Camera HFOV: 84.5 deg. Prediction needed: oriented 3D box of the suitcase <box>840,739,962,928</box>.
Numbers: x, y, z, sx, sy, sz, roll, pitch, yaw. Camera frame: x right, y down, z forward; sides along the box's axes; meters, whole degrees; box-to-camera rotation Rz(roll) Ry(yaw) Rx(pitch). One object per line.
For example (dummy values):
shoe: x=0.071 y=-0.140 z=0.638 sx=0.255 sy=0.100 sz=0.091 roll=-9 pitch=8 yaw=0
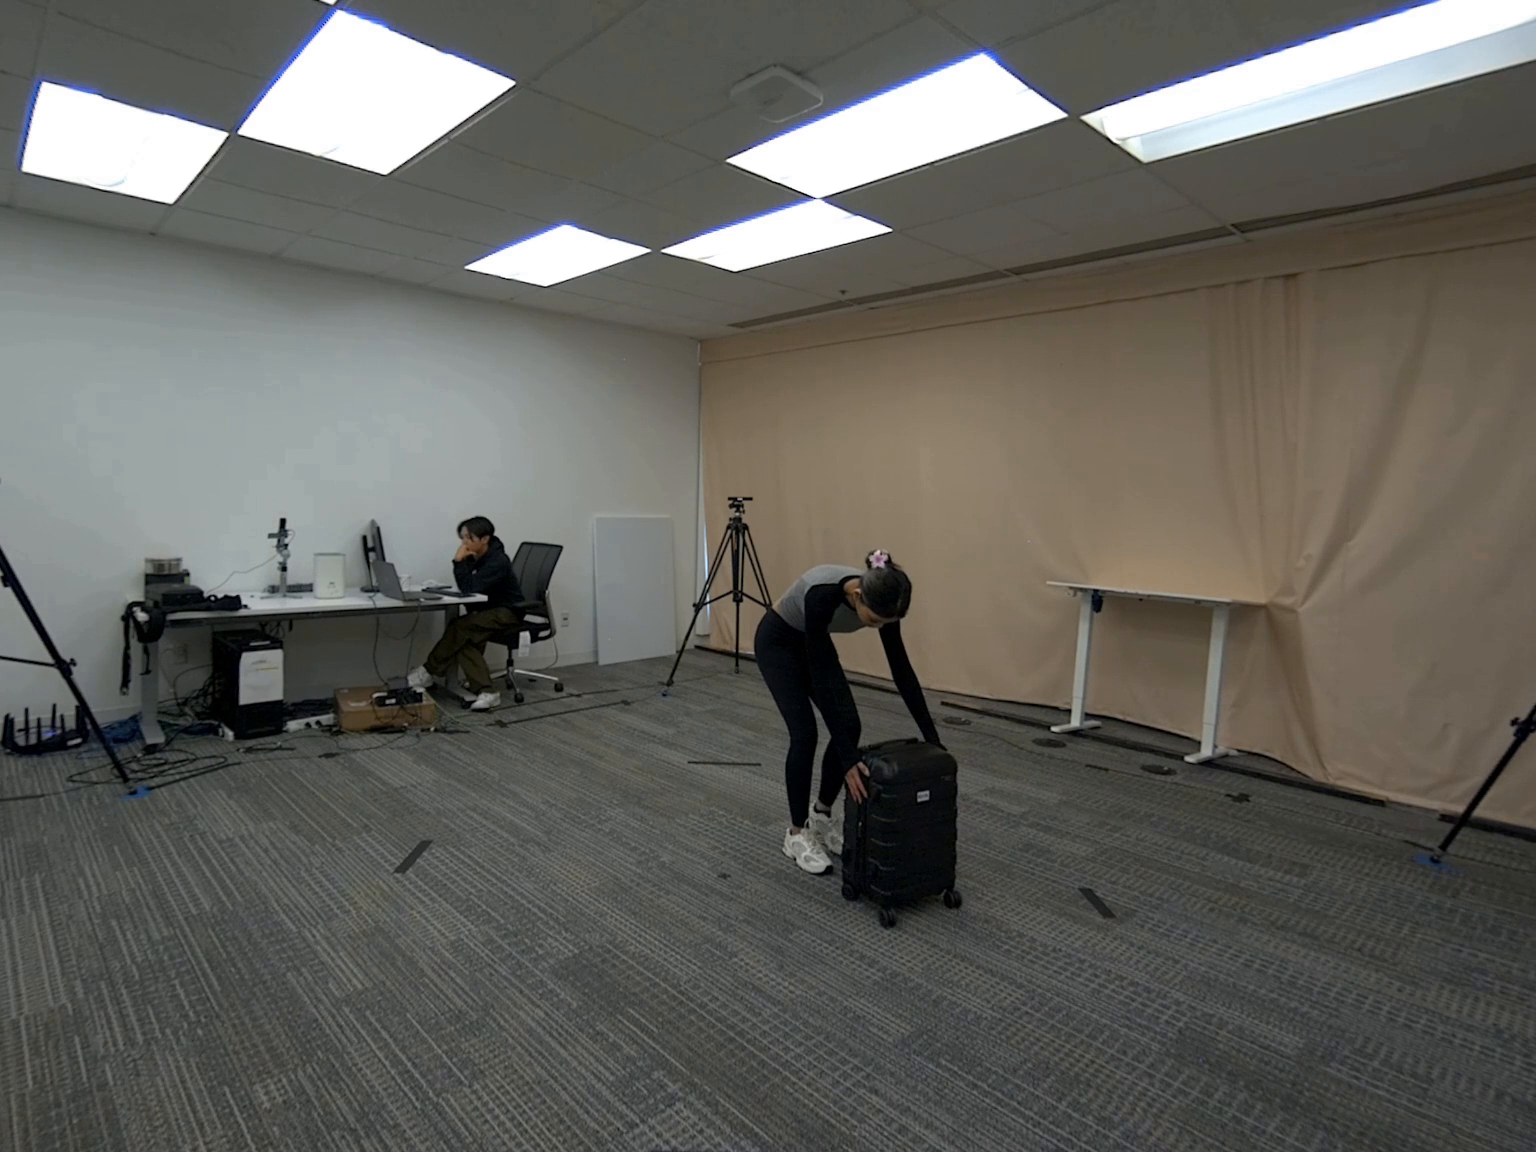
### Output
suitcase: x=0.465 y=0.864 z=2.931 sx=0.368 sy=0.549 sz=0.254 roll=0 pitch=2 yaw=-30
